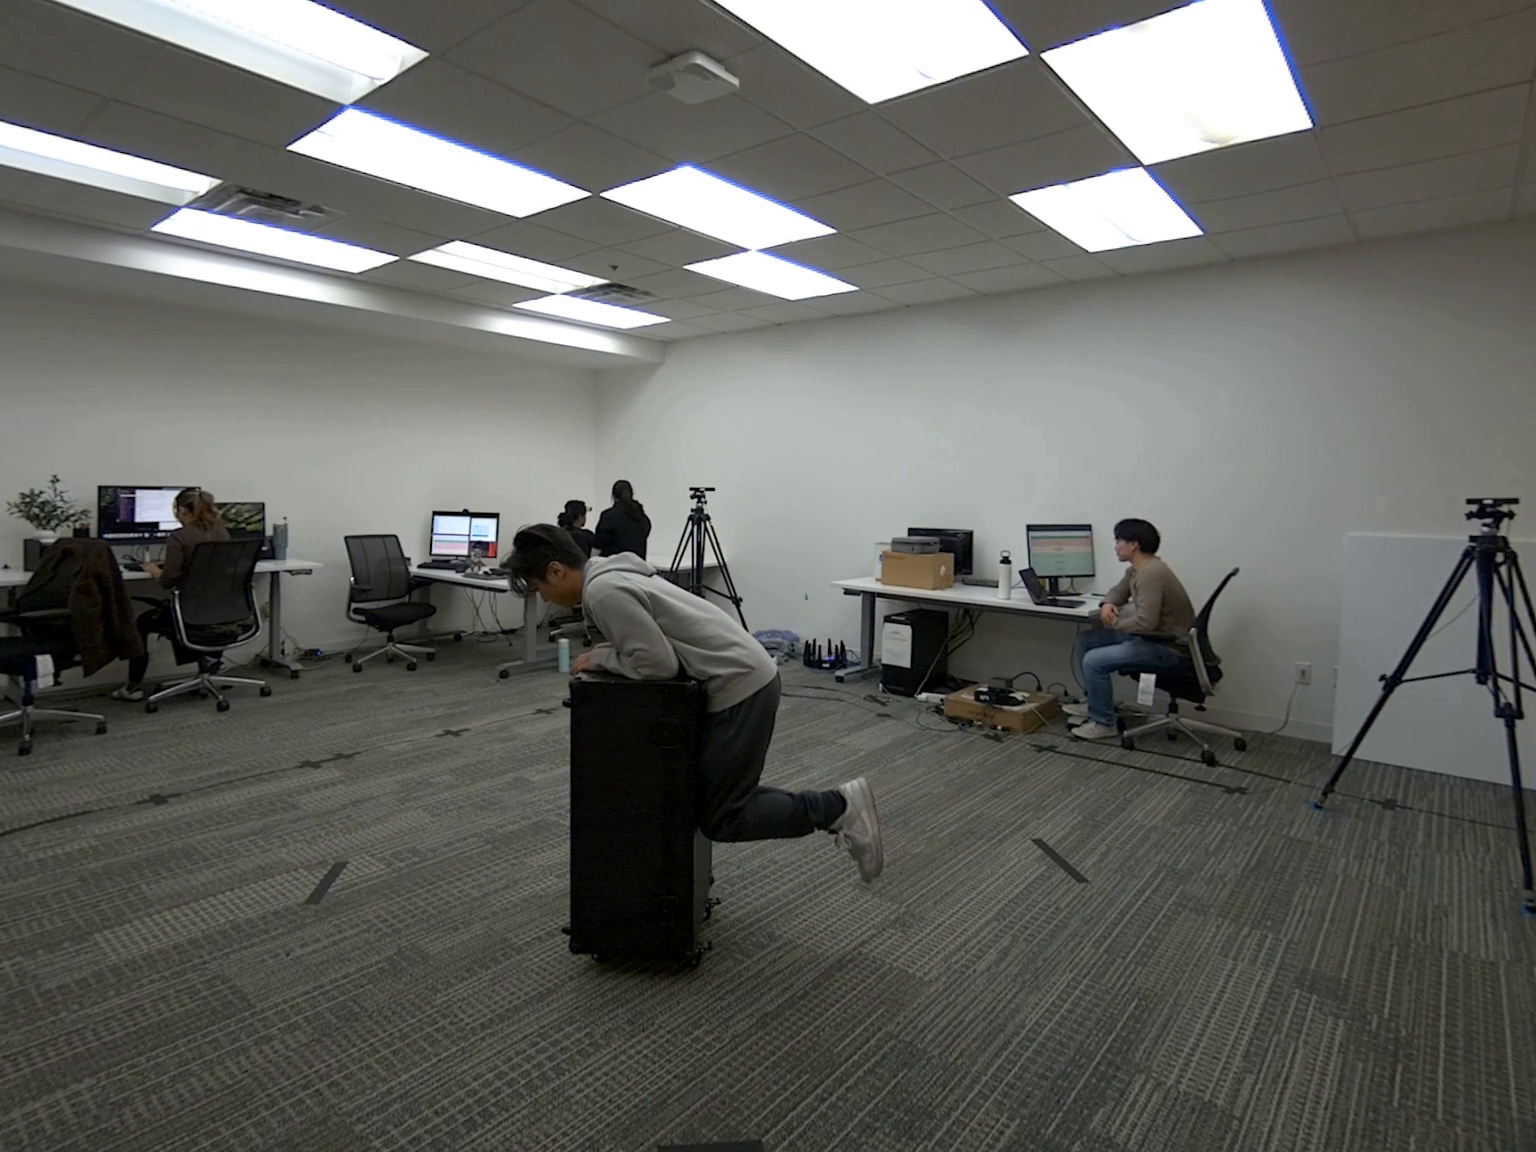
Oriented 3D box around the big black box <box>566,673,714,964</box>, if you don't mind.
[{"bbox_3d":[-0.393,0.697,2.597,0.399,0.859,0.519,1,3,4],"label":"big black box"}]
